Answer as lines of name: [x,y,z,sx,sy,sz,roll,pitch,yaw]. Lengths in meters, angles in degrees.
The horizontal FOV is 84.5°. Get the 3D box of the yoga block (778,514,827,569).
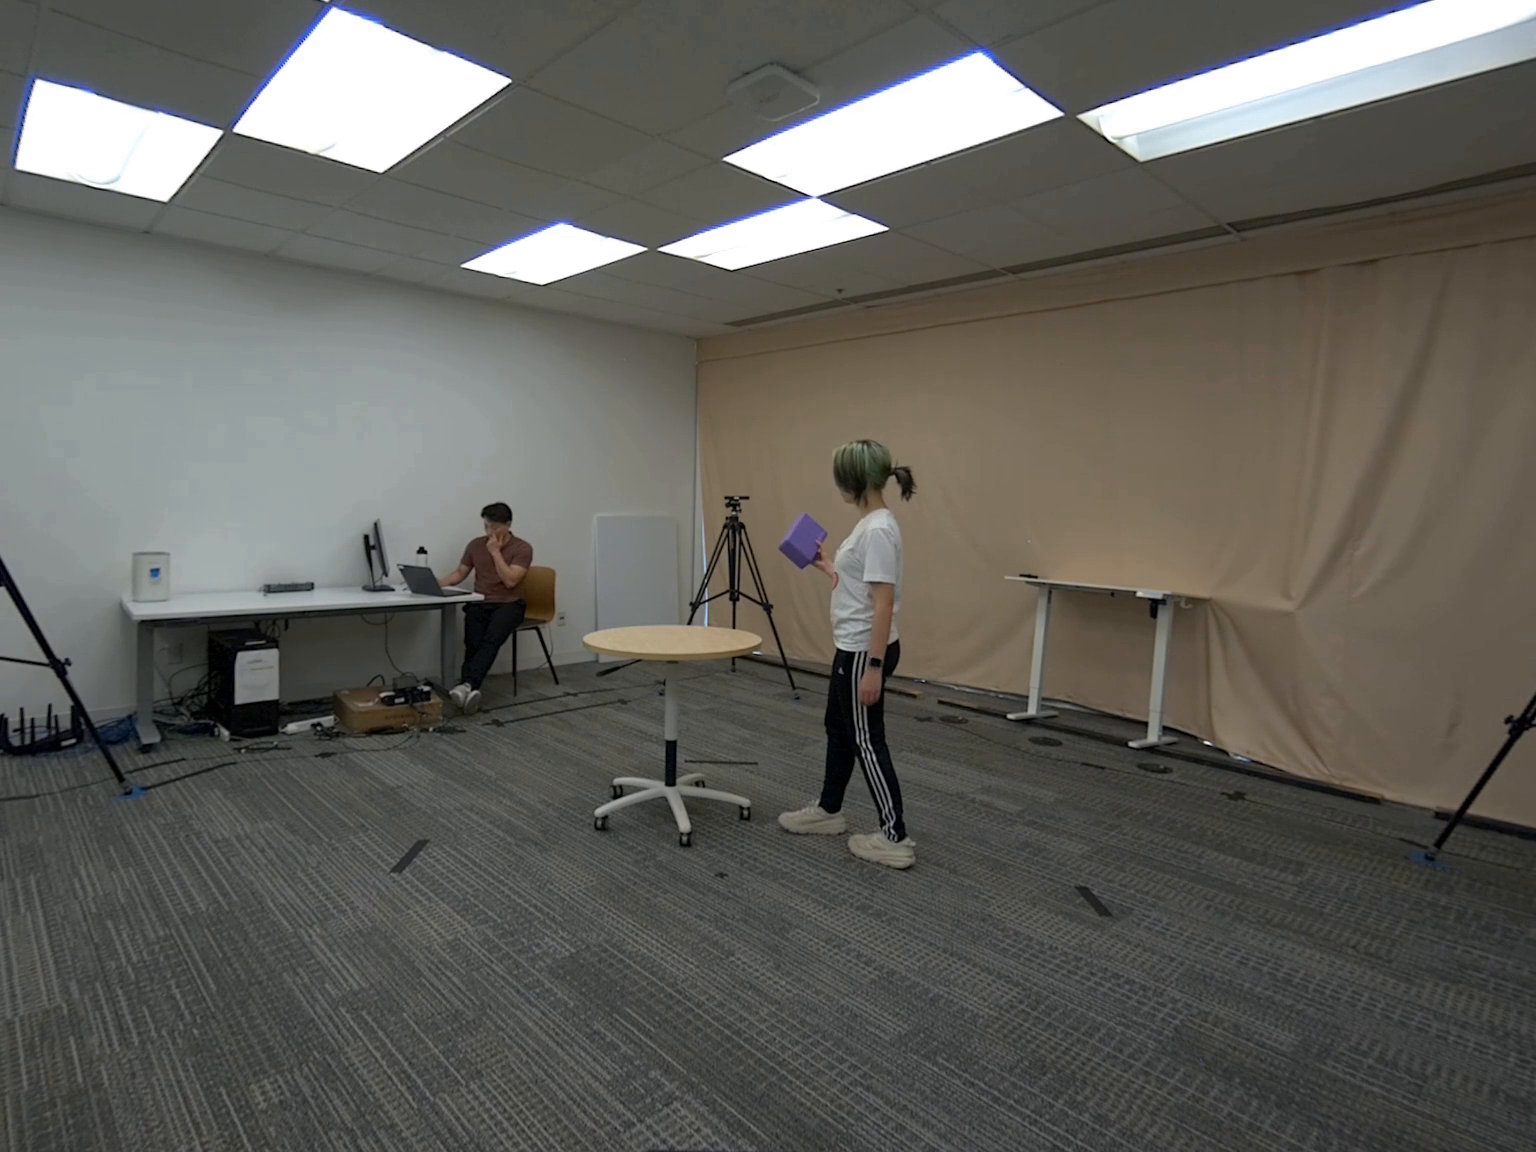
yoga block: [0.149,-0.157,3.678,0.077,0.148,0.230,-41,11,44]
